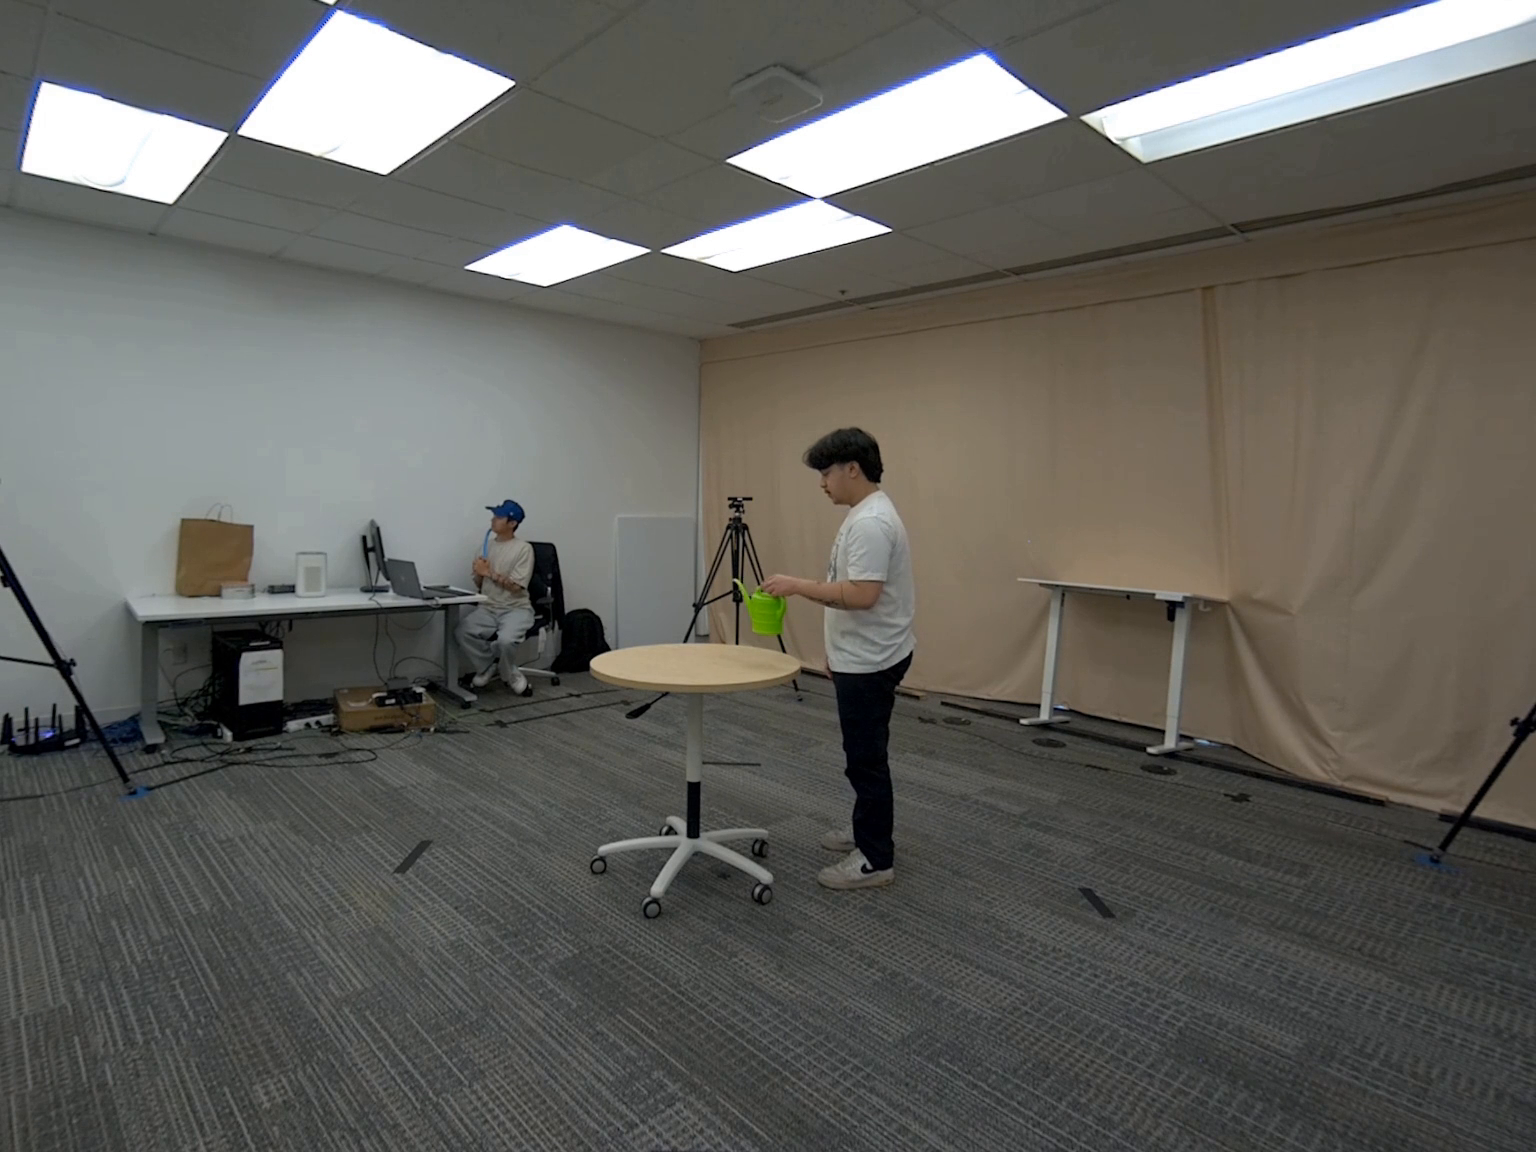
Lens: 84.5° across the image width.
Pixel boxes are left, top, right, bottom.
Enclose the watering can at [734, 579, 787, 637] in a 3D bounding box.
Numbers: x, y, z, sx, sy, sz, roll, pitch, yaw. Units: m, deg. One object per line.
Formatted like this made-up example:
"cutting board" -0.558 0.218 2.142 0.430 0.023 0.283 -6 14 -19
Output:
"watering can" -0.027 0.114 3.096 0.096 0.175 0.285 -6 12 -28
